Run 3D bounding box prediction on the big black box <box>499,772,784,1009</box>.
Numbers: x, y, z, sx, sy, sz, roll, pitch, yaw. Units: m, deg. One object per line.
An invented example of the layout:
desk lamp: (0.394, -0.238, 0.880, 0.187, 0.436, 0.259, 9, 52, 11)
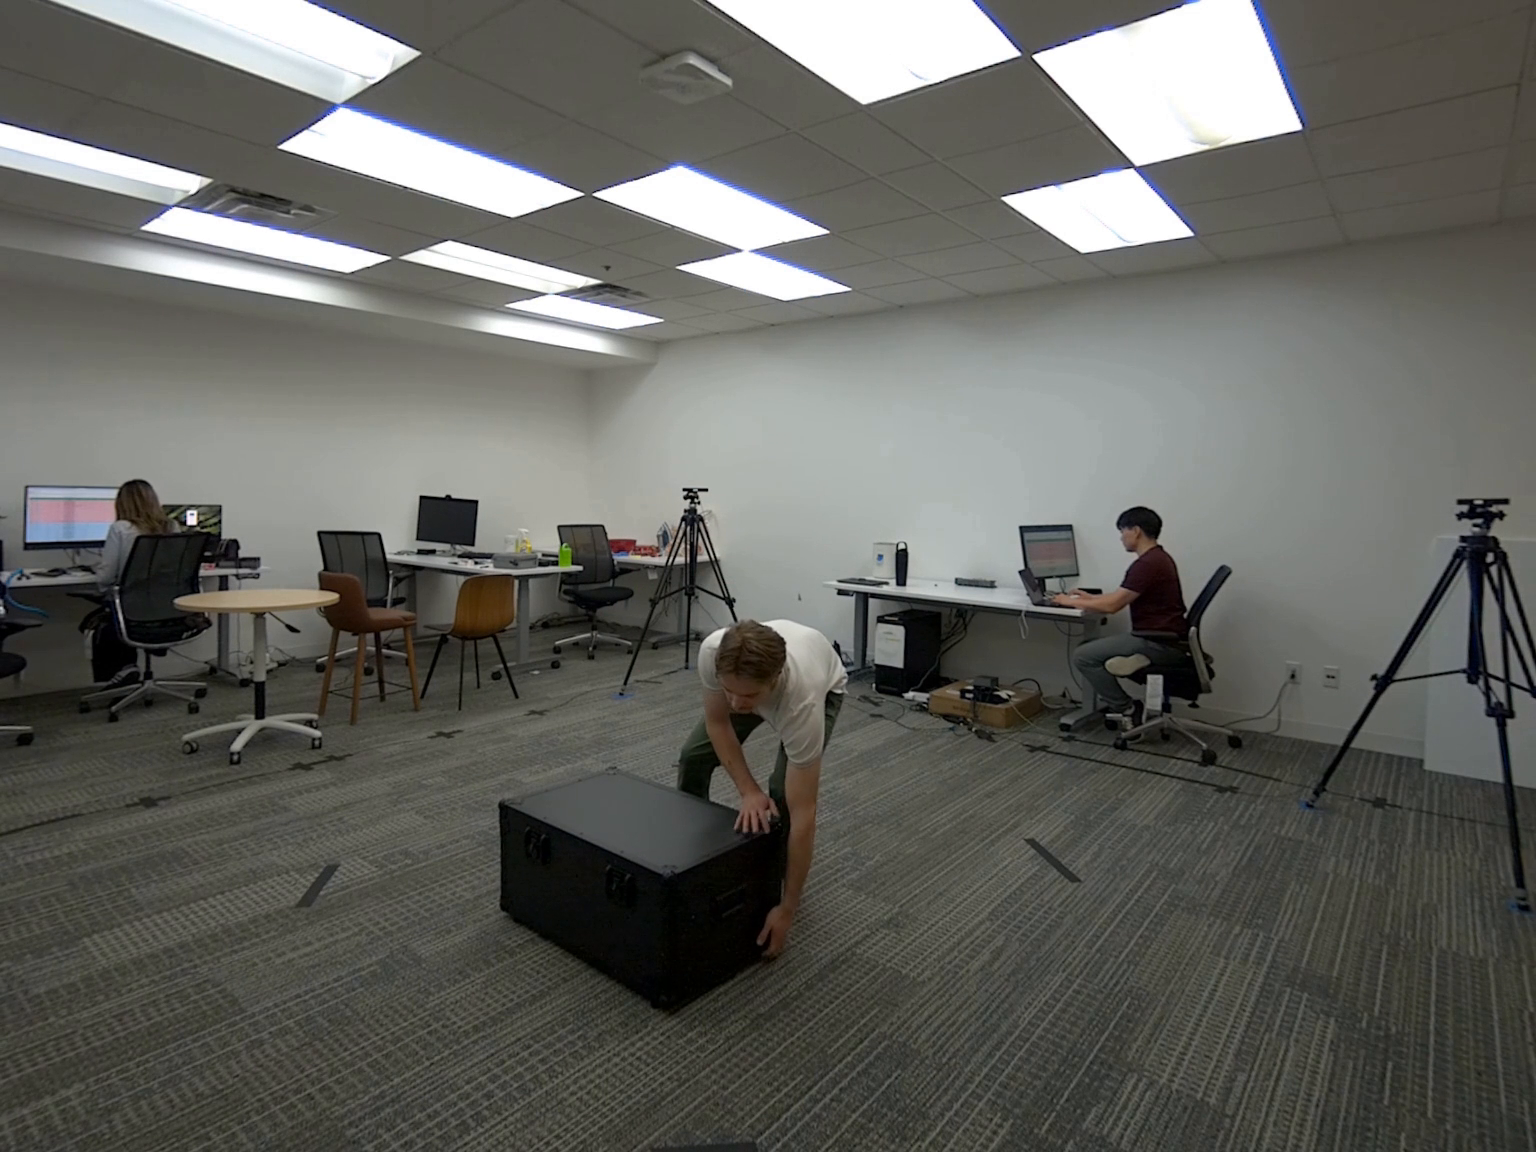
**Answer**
big black box: (-0.446, 0.920, 2.670, 0.891, 0.395, 0.506, 6, 6, 40)
